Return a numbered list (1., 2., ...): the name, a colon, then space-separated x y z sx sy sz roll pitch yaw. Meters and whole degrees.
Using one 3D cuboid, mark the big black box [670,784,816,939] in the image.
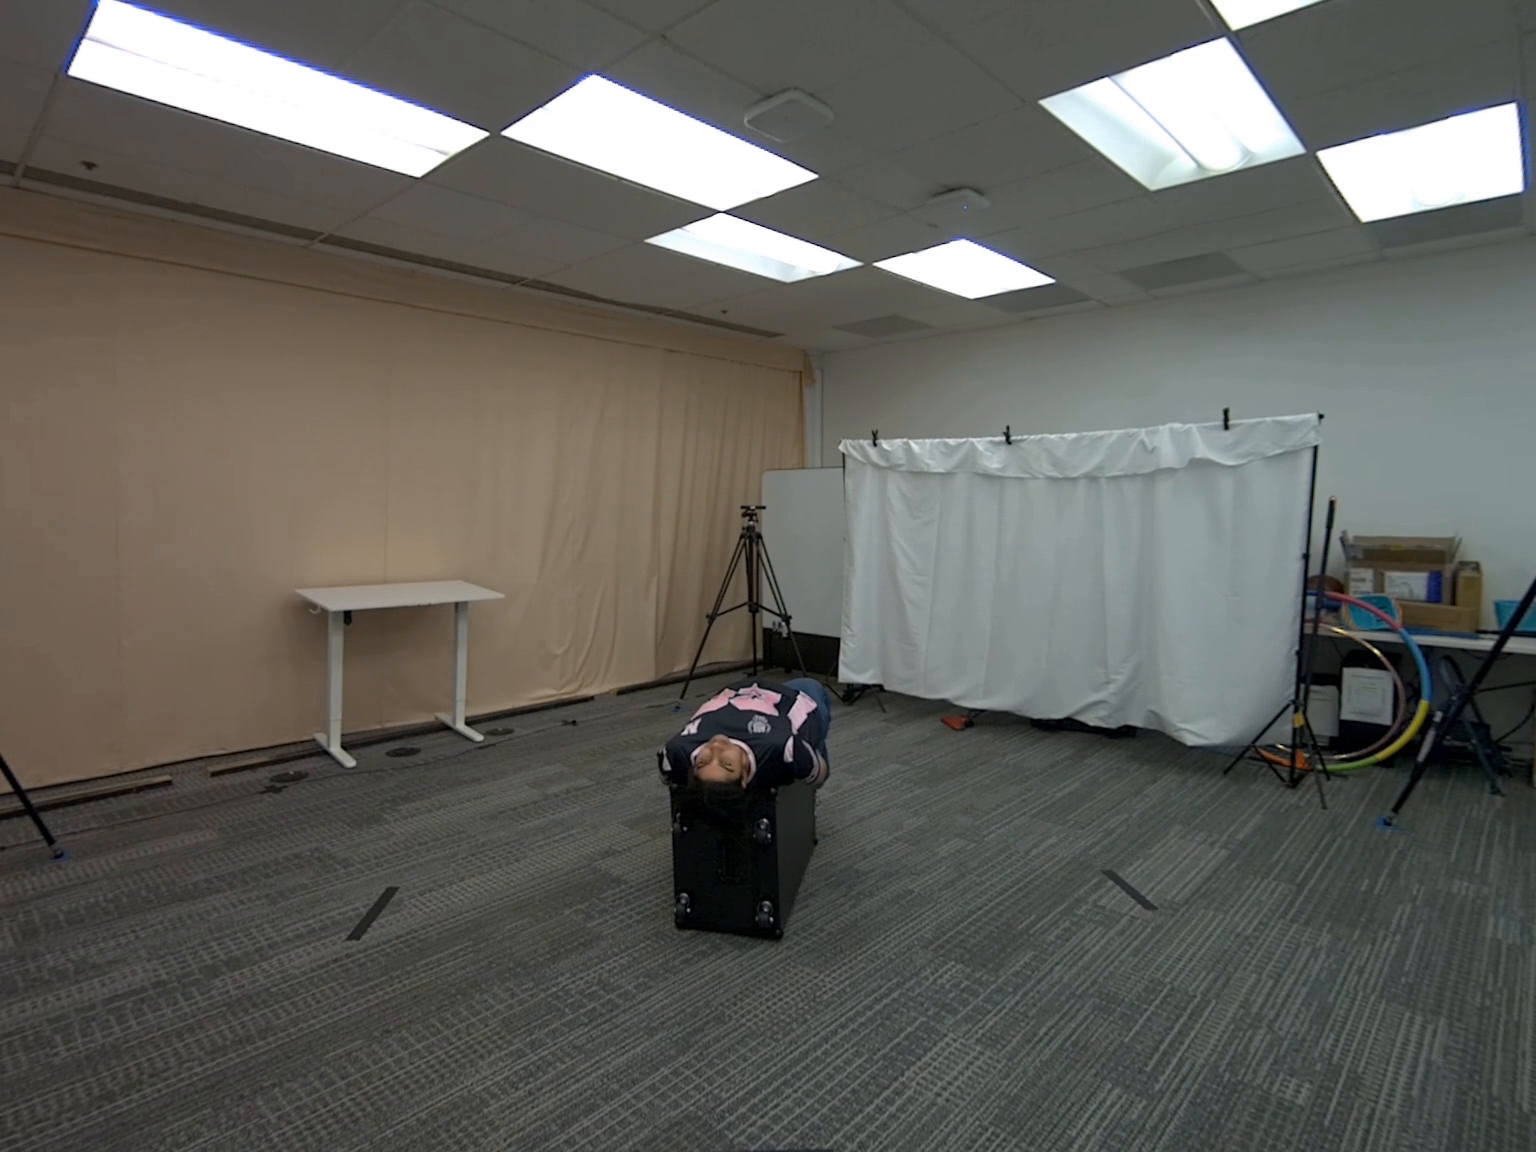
1. big black box: -0.068 0.881 3.050 0.391 0.522 0.857 2 5 13
